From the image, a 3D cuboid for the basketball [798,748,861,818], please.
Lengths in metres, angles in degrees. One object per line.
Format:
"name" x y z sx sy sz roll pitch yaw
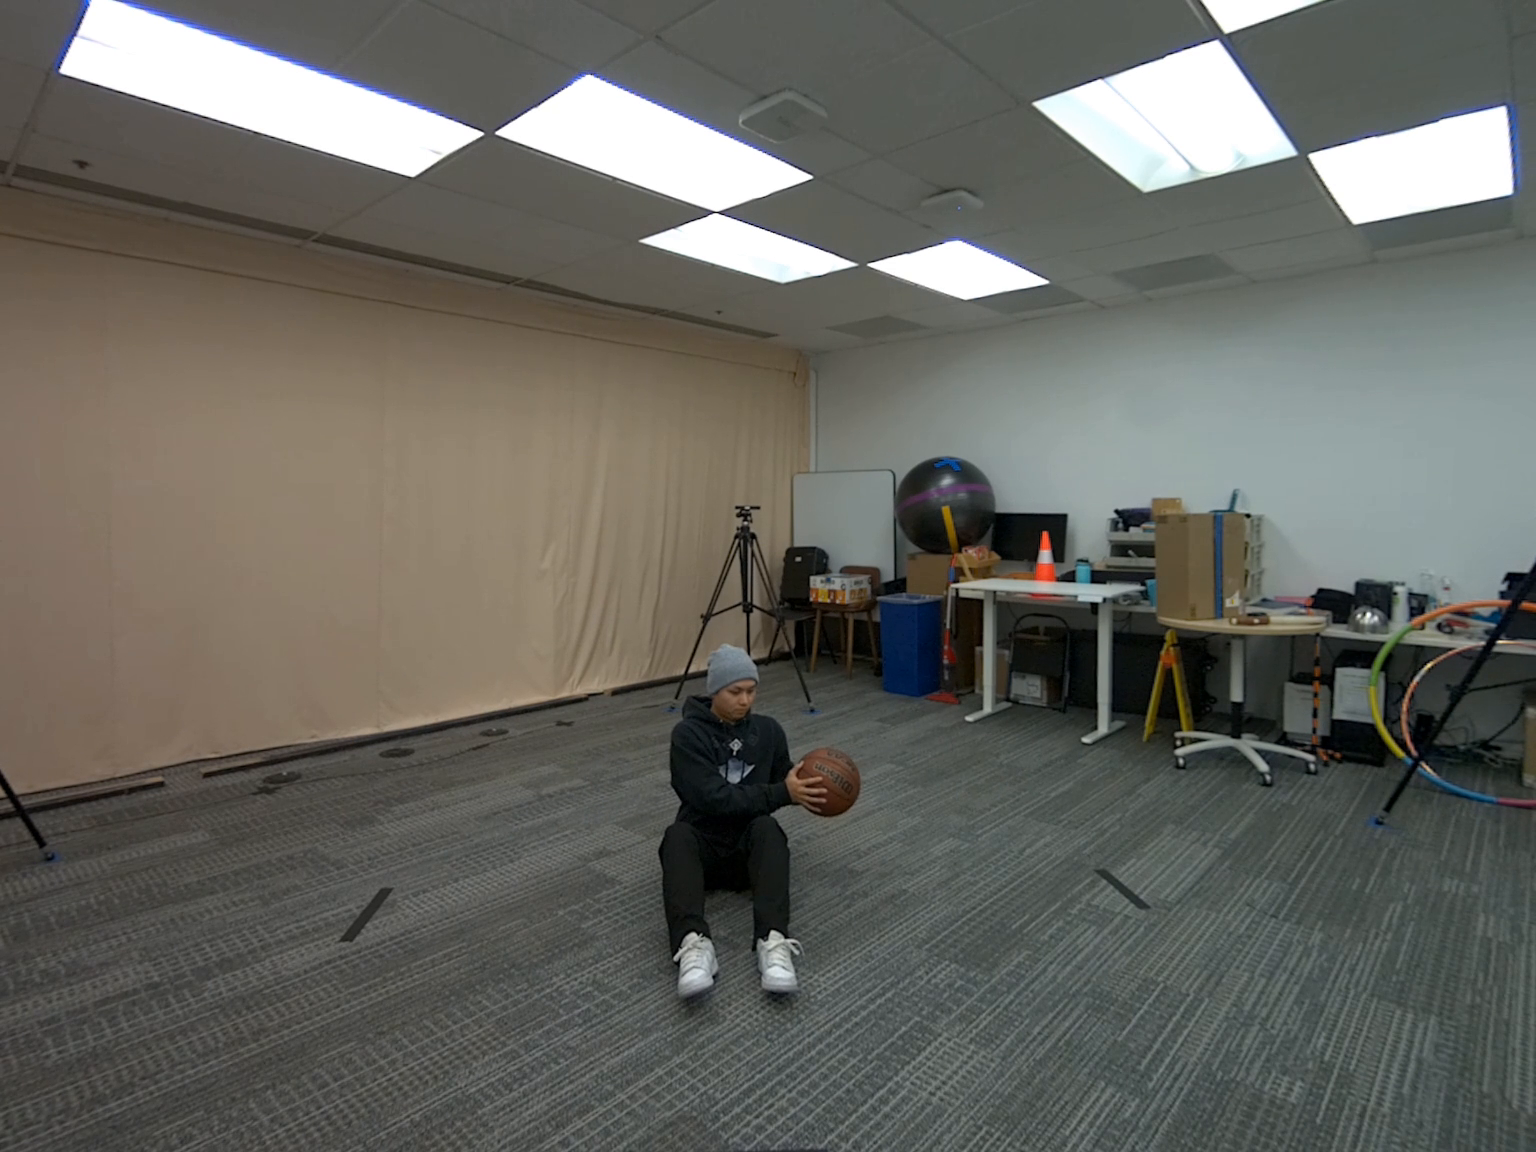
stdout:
"basketball" 0.205 0.732 2.993 0.236 0.235 0.237 0 4 -2
